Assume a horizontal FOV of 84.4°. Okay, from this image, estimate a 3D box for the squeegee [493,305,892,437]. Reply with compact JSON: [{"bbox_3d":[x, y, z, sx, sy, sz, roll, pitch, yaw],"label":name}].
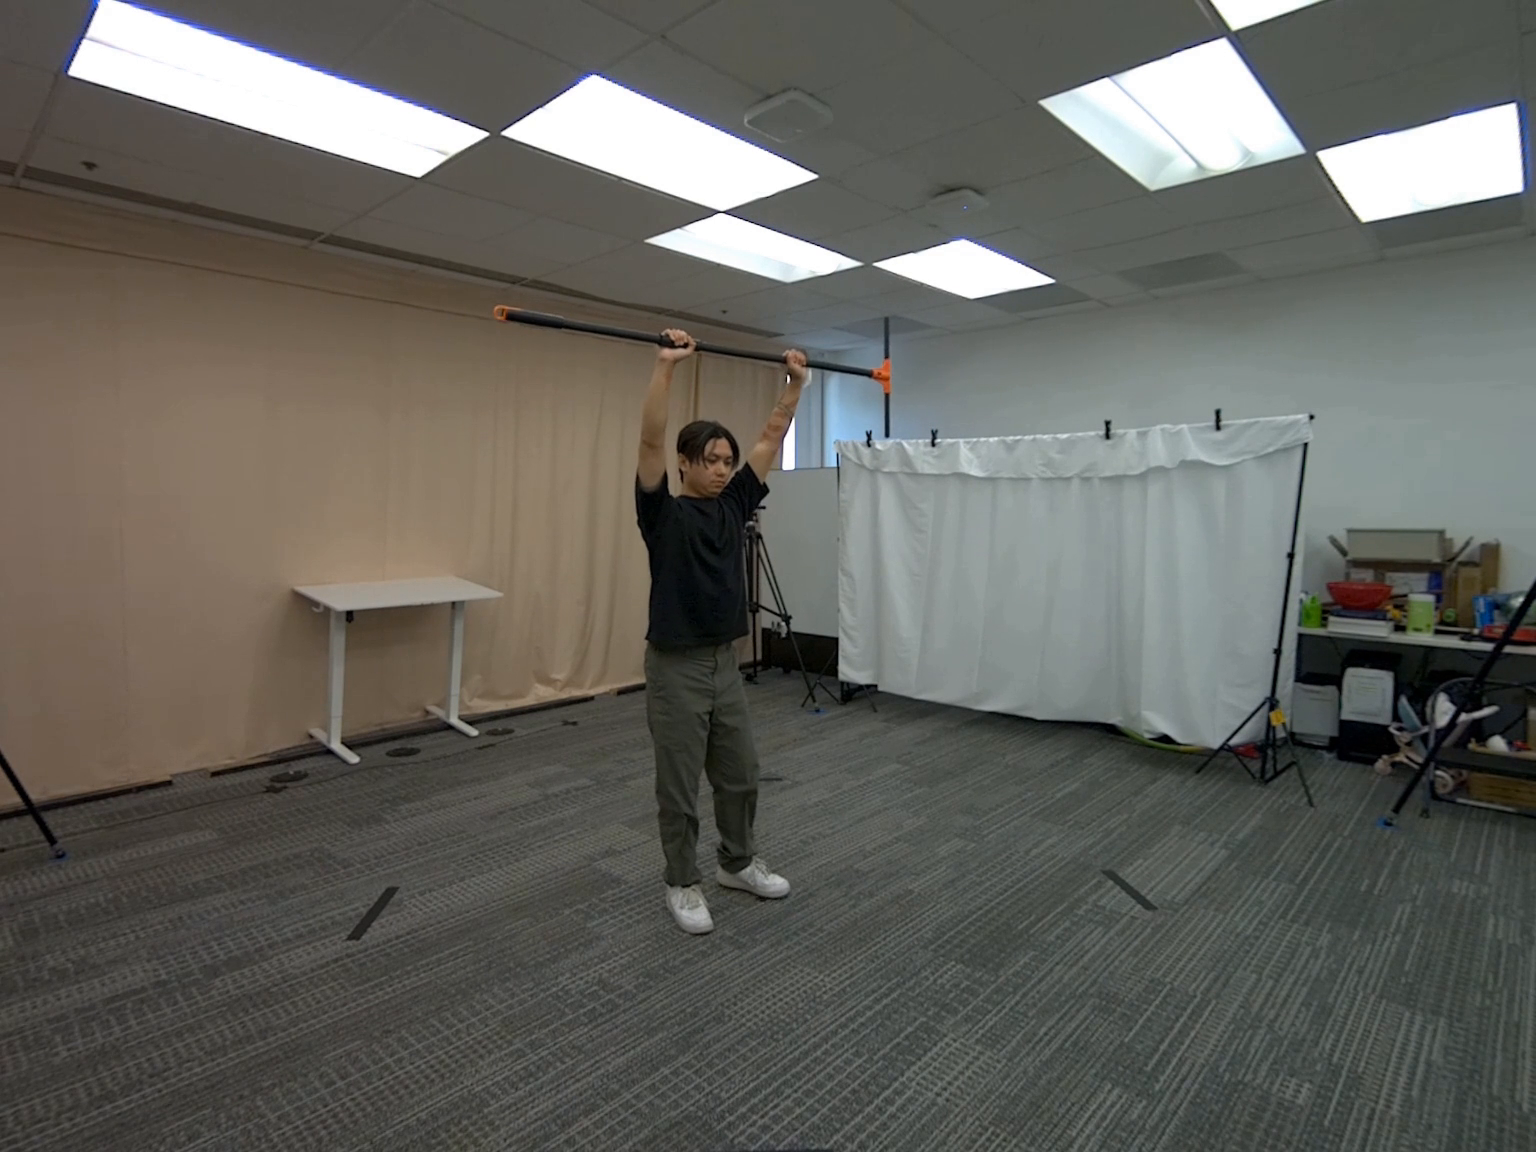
[{"bbox_3d":[-0.108,-0.693,2.611,1.491,0.436,0.055,-3,6,-40],"label":"squeegee"}]
